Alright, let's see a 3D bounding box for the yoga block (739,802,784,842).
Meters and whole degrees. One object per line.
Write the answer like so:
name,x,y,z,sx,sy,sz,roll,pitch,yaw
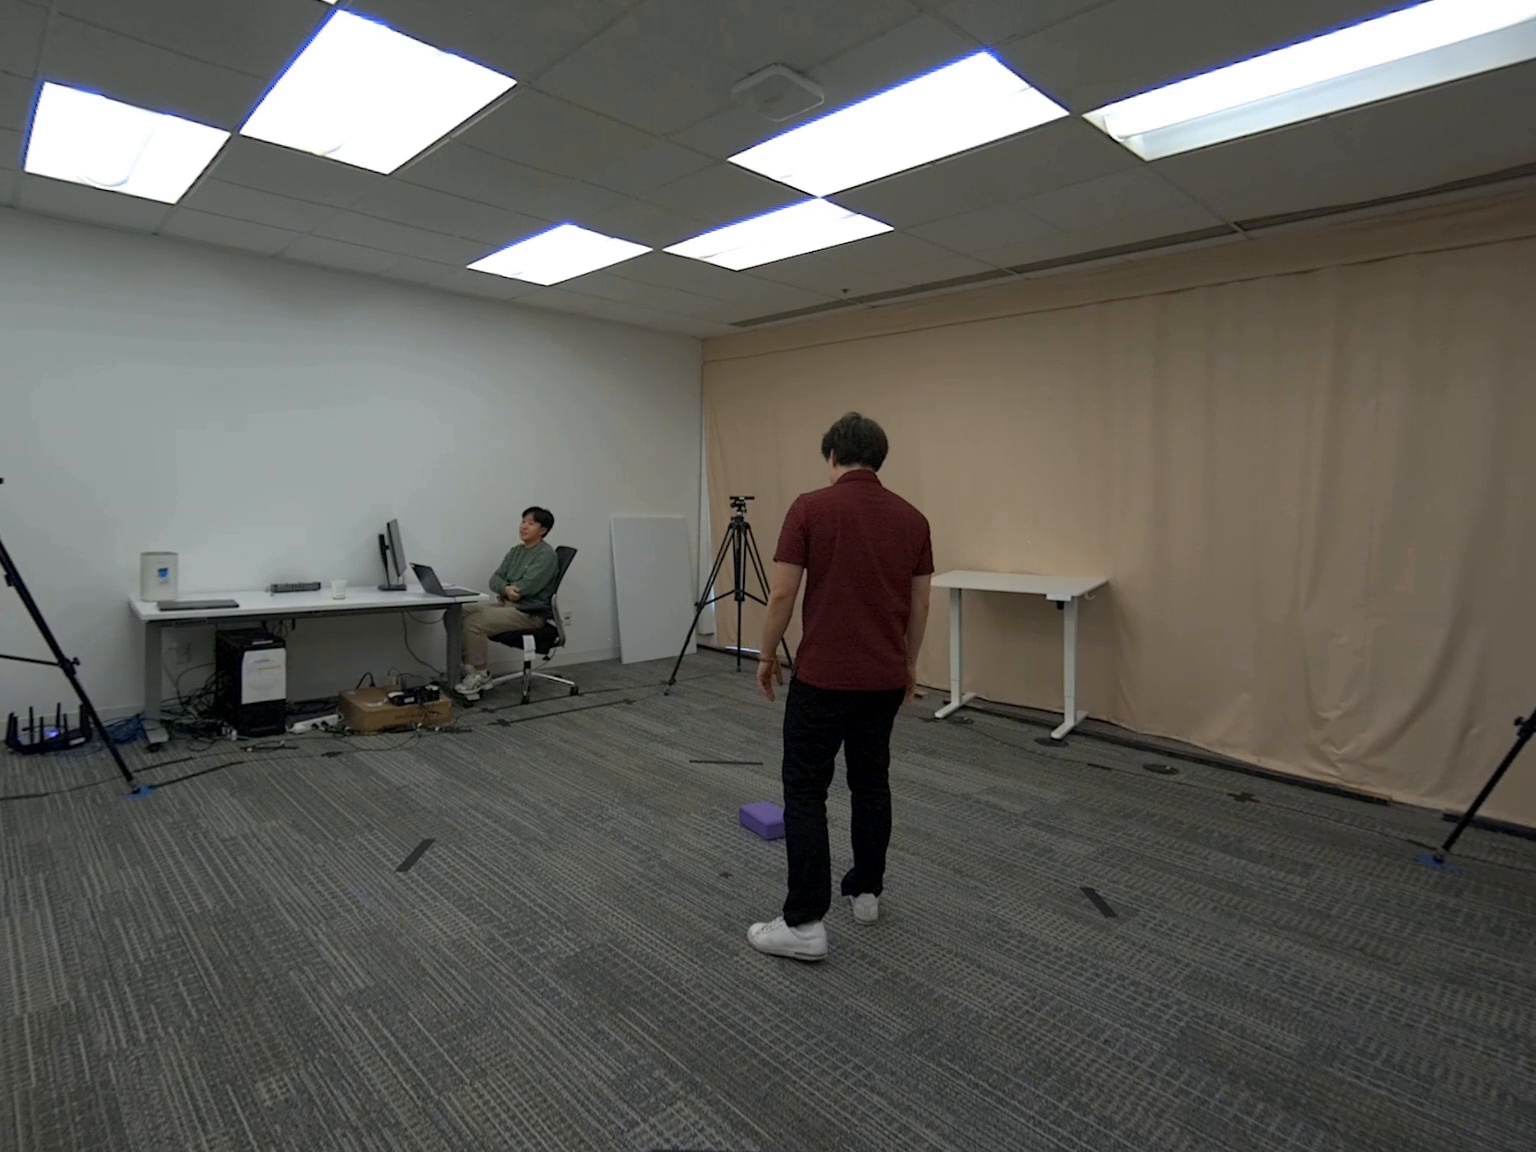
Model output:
yoga block,-0.013,1.029,3.550,0.146,0.076,0.235,-2,5,-32
